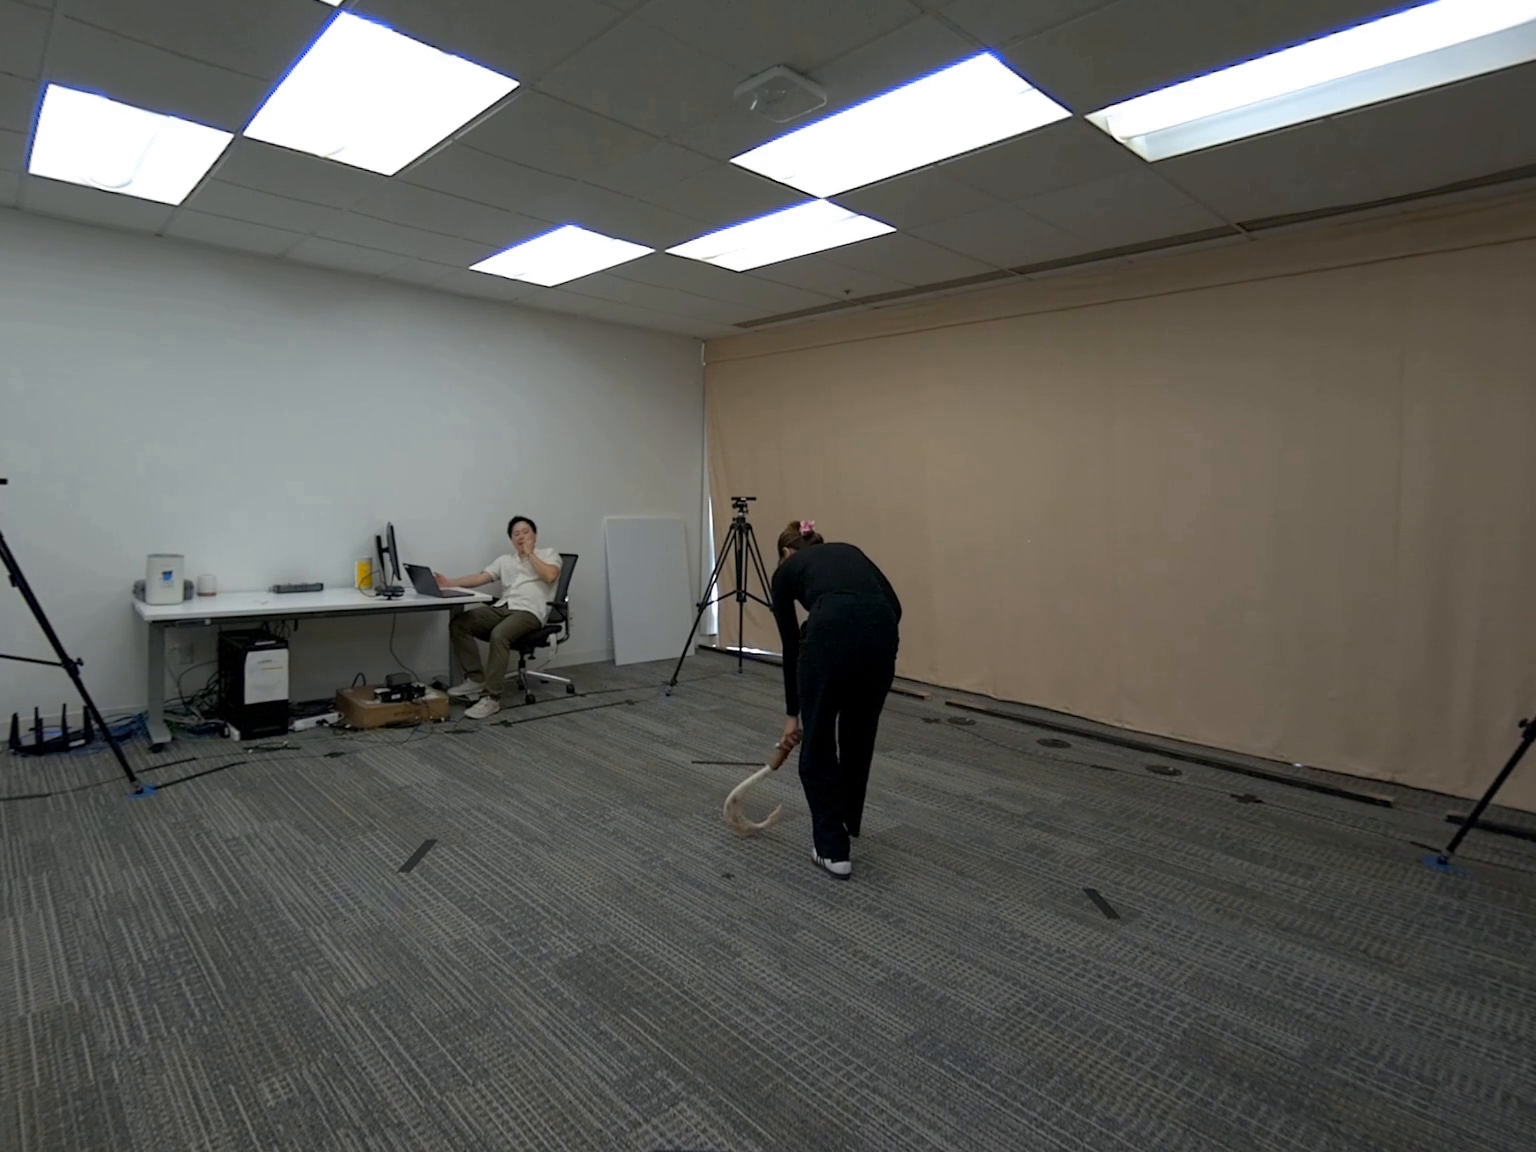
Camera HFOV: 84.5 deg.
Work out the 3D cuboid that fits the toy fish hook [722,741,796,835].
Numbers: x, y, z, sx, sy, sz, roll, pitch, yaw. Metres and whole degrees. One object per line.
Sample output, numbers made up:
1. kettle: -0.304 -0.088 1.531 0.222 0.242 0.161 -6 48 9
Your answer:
1. toy fish hook: 0.020 0.843 3.454 0.222 0.506 0.049 35 9 -11
